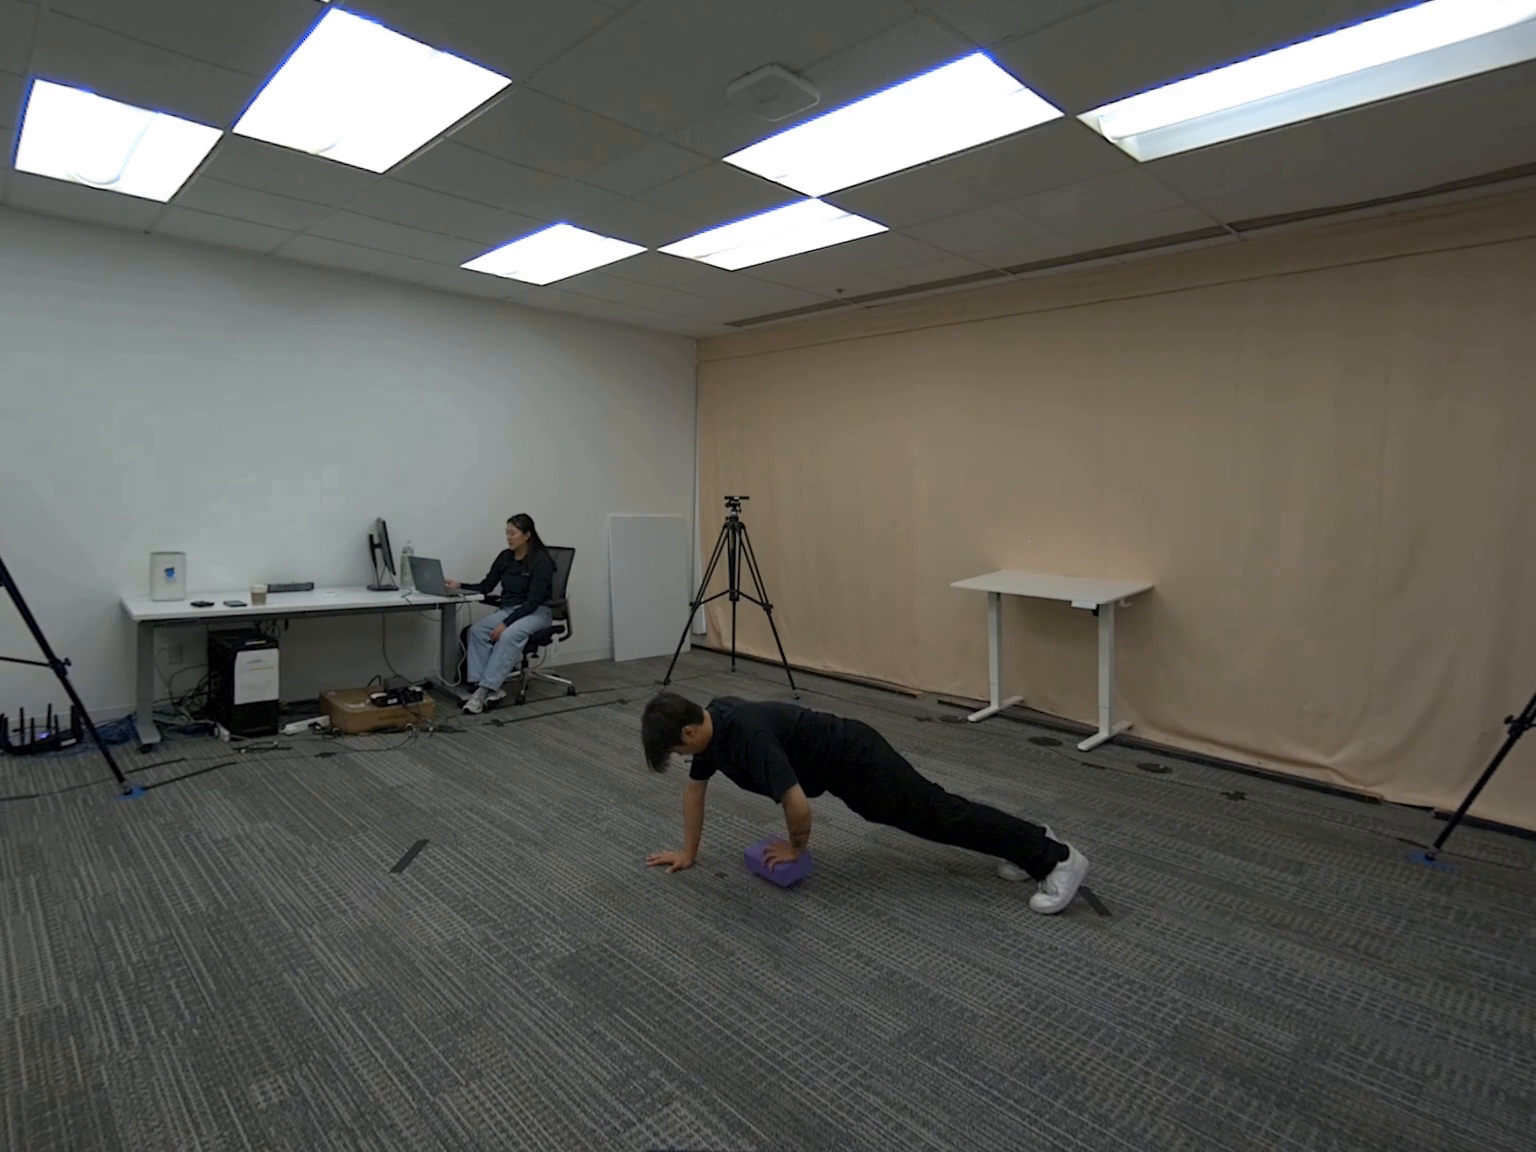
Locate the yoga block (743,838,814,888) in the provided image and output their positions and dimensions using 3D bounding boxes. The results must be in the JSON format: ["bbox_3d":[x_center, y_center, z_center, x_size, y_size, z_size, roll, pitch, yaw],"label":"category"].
[{"bbox_3d":[0.024,1.032,3.067,0.146,0.076,0.235,-14,12,-37],"label":"yoga block"}]
